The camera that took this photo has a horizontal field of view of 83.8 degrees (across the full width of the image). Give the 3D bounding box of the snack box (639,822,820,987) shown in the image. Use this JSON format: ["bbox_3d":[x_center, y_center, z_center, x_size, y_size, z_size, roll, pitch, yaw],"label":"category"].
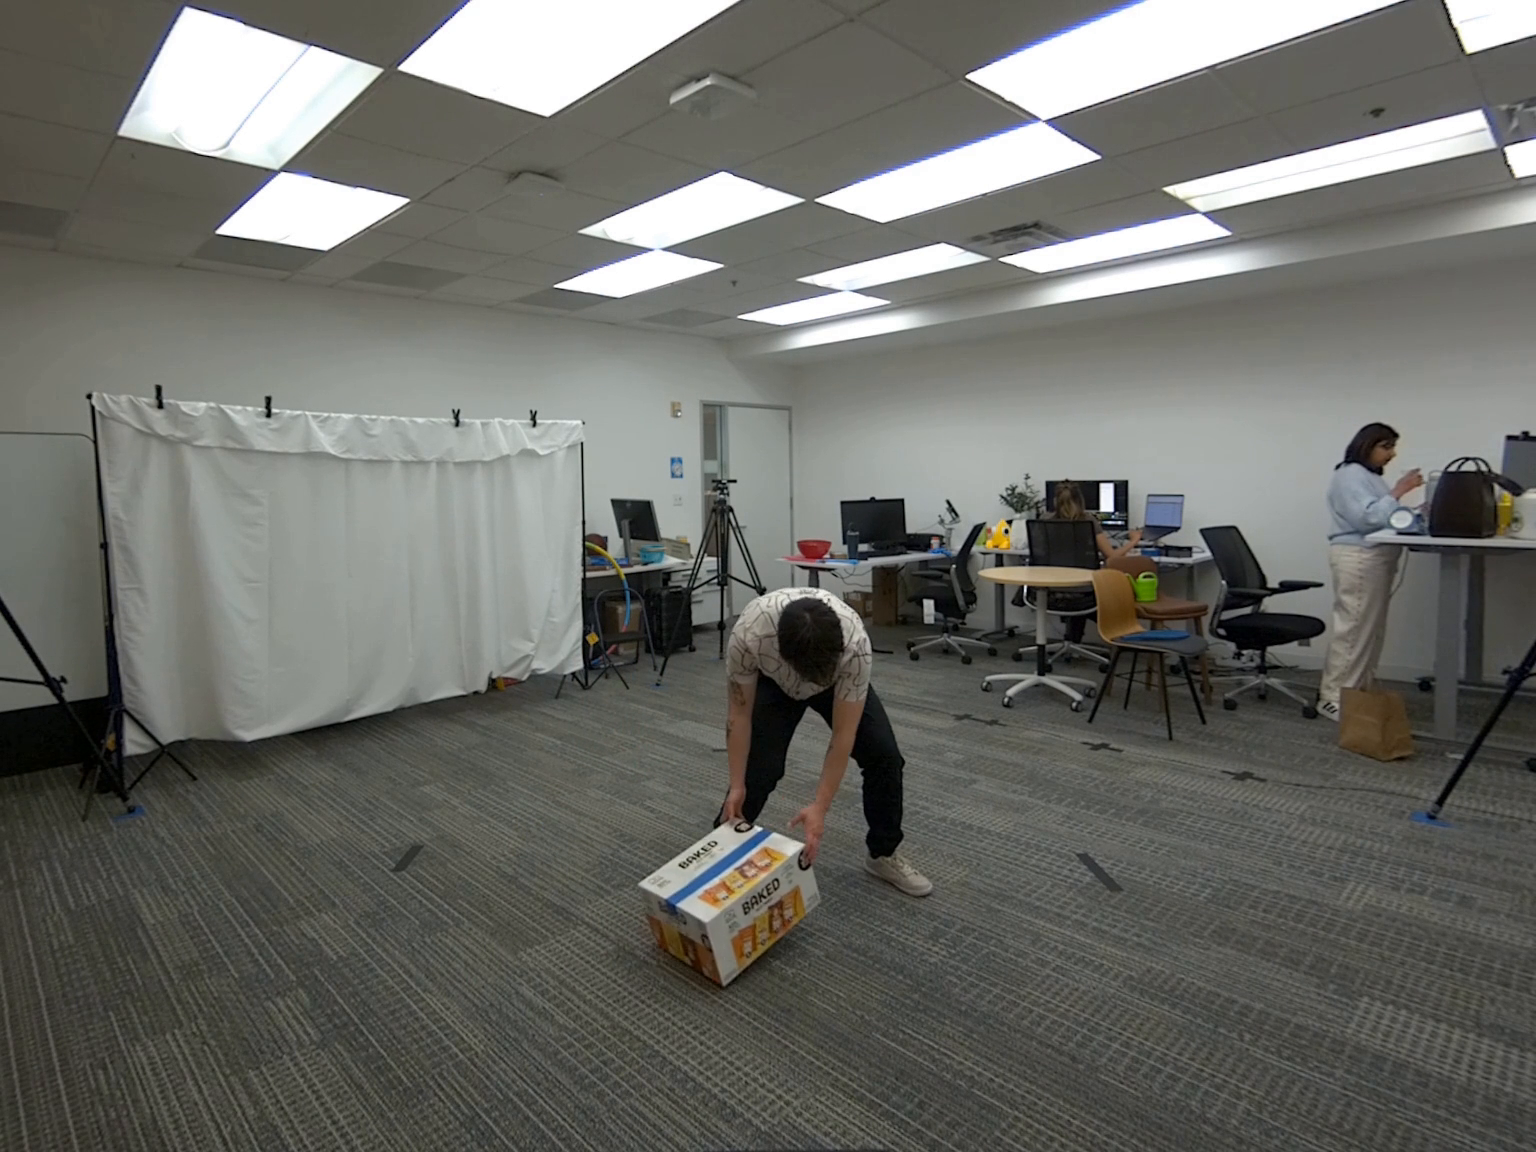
[{"bbox_3d":[-0.111,0.959,2.566,0.399,0.203,0.350,-25,17,-38],"label":"snack box"}]
